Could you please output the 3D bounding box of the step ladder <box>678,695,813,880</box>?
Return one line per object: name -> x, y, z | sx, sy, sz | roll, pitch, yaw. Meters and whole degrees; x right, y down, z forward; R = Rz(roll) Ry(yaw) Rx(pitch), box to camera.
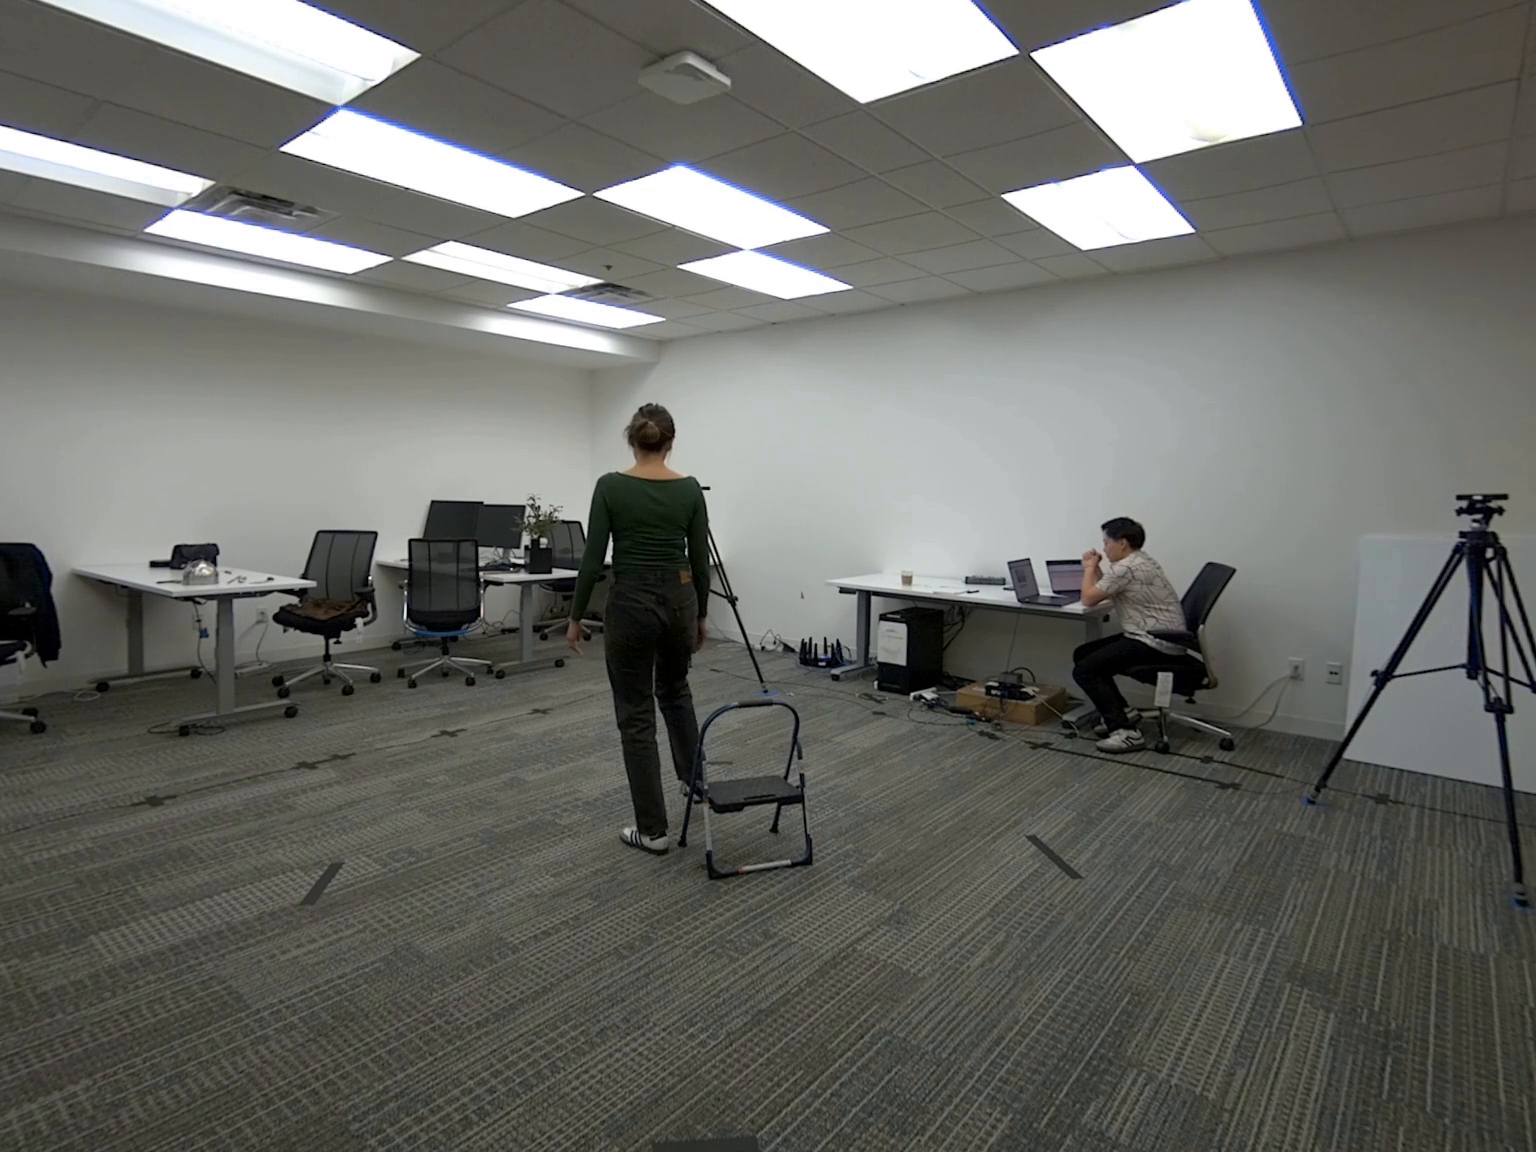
step ladder -> -0.092, 0.751, 3.224 | 0.421, 0.604, 0.358 | -1, 4, -23
